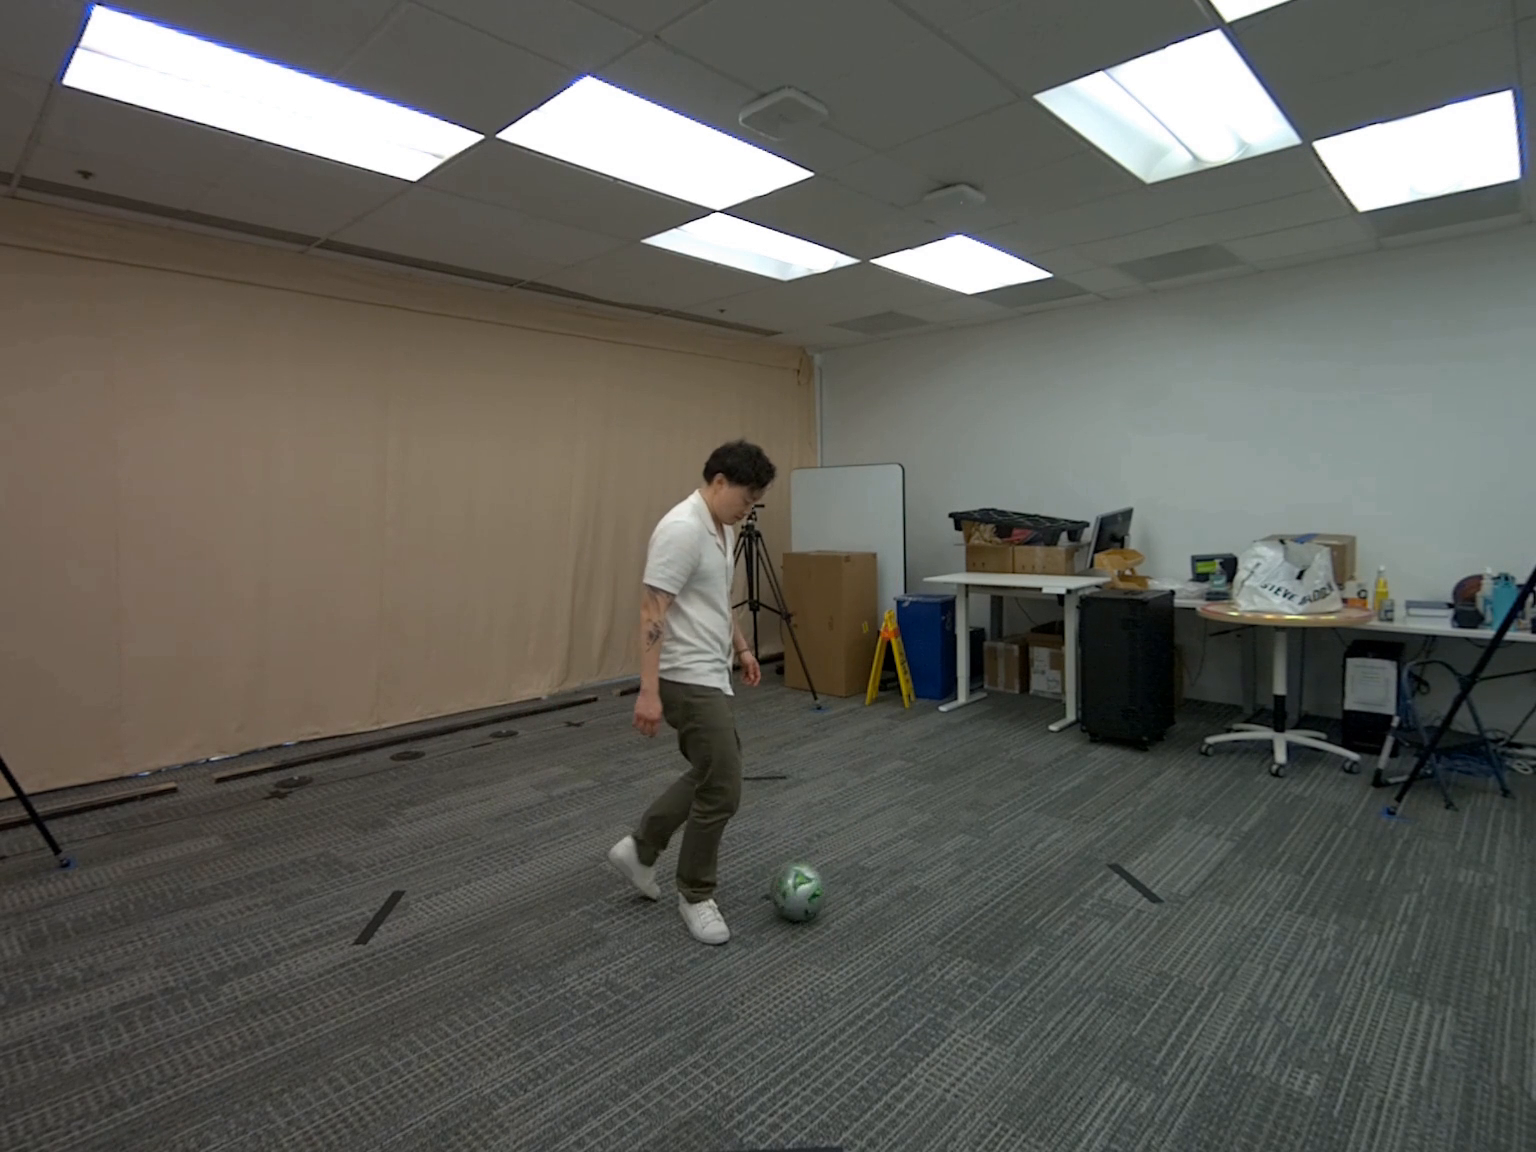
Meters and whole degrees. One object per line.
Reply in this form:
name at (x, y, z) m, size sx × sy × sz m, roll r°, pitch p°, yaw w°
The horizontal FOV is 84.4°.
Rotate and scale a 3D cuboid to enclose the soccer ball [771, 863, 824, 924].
soccer ball at (0.089, 1.056, 2.822) m, size 0.187 × 0.187 × 0.188 m, roll -1°, pitch 4°, yaw -2°
